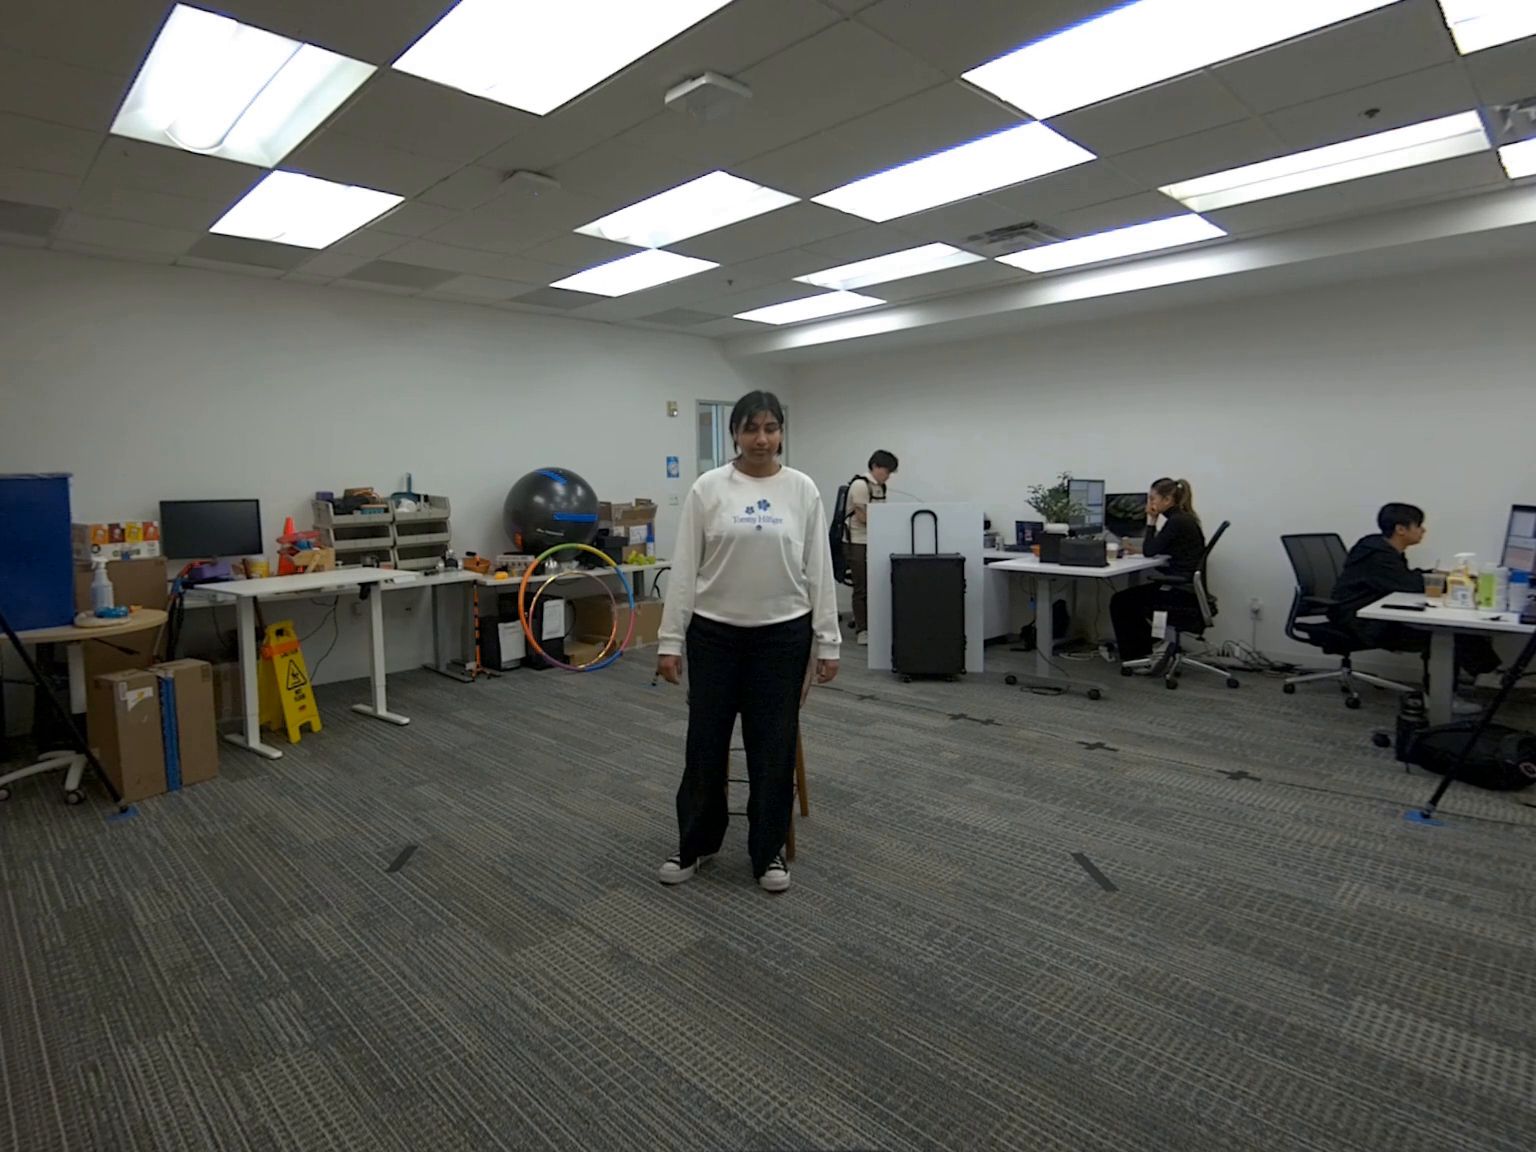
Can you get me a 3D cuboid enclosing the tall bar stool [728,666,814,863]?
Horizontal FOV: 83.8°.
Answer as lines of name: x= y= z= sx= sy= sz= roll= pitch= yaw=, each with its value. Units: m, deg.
tall bar stool: x=-0.058 y=0.580 z=3.369 sx=0.463 sy=0.888 sz=0.462 roll=0 pitch=2 yaw=13
